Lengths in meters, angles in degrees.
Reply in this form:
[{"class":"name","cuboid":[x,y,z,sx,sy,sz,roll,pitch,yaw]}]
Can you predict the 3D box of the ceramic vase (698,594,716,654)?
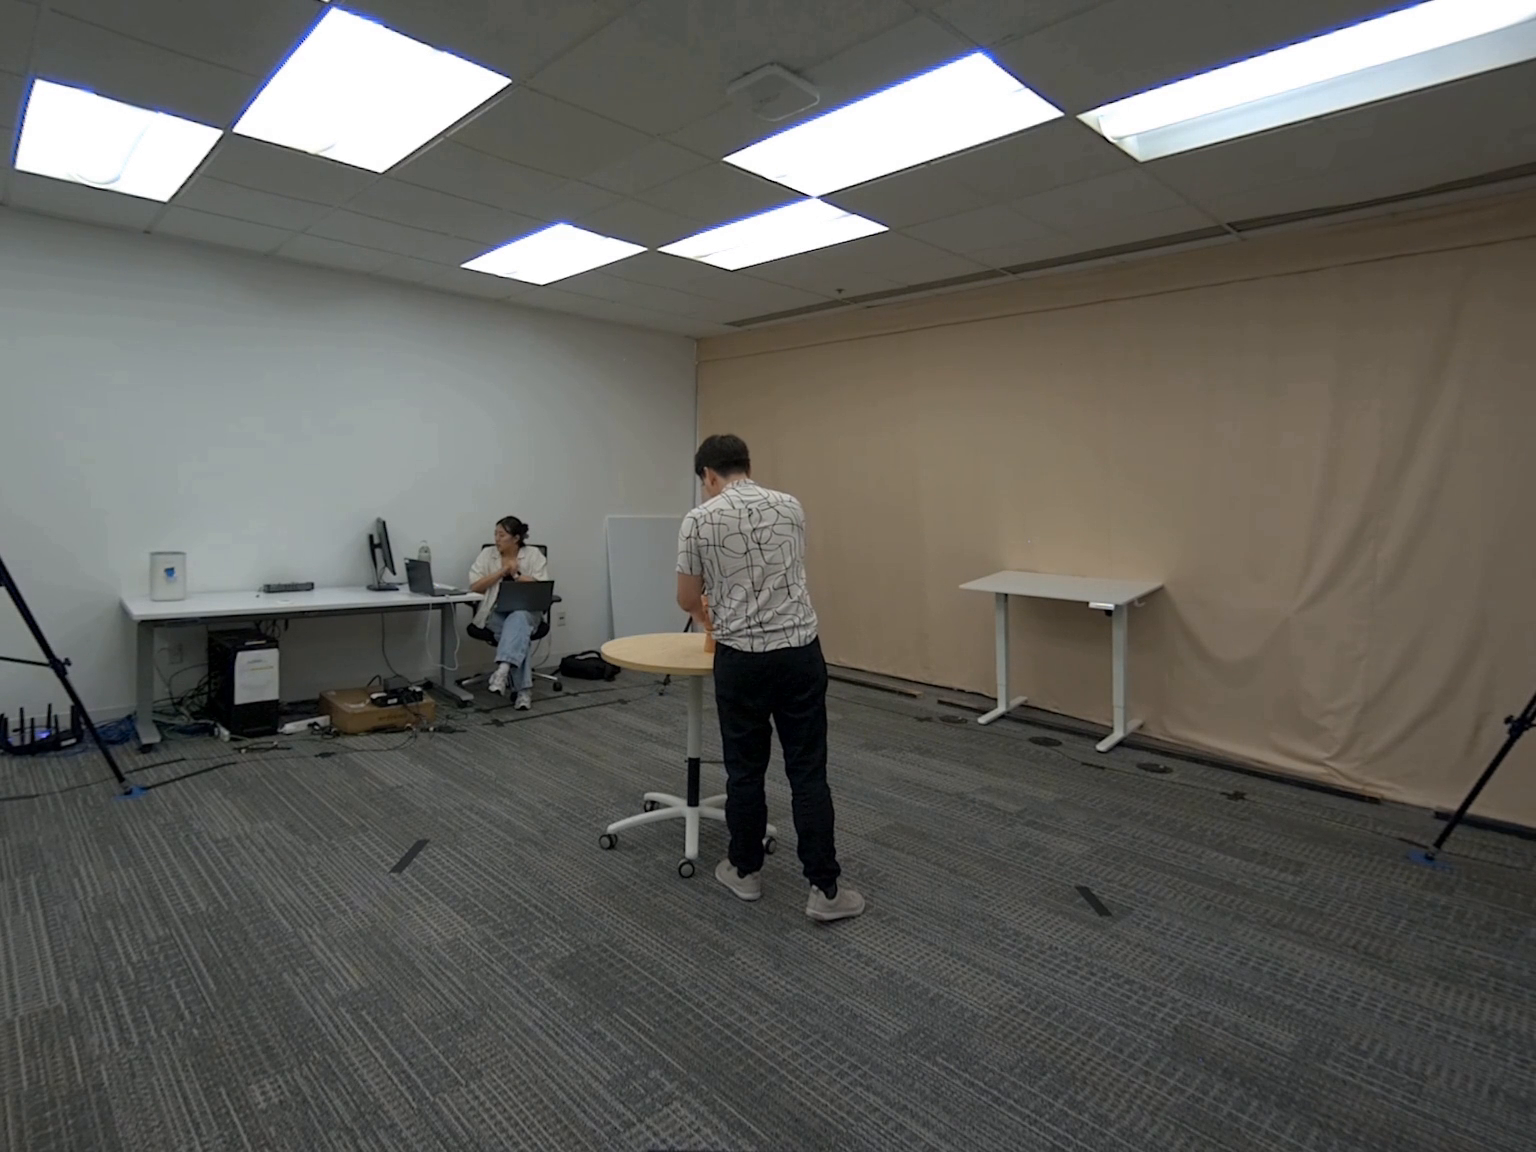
[{"class":"ceramic vase","cuboid":[-0.210,0.192,3.337,0.157,0.219,0.136,2,5,-11]}]
